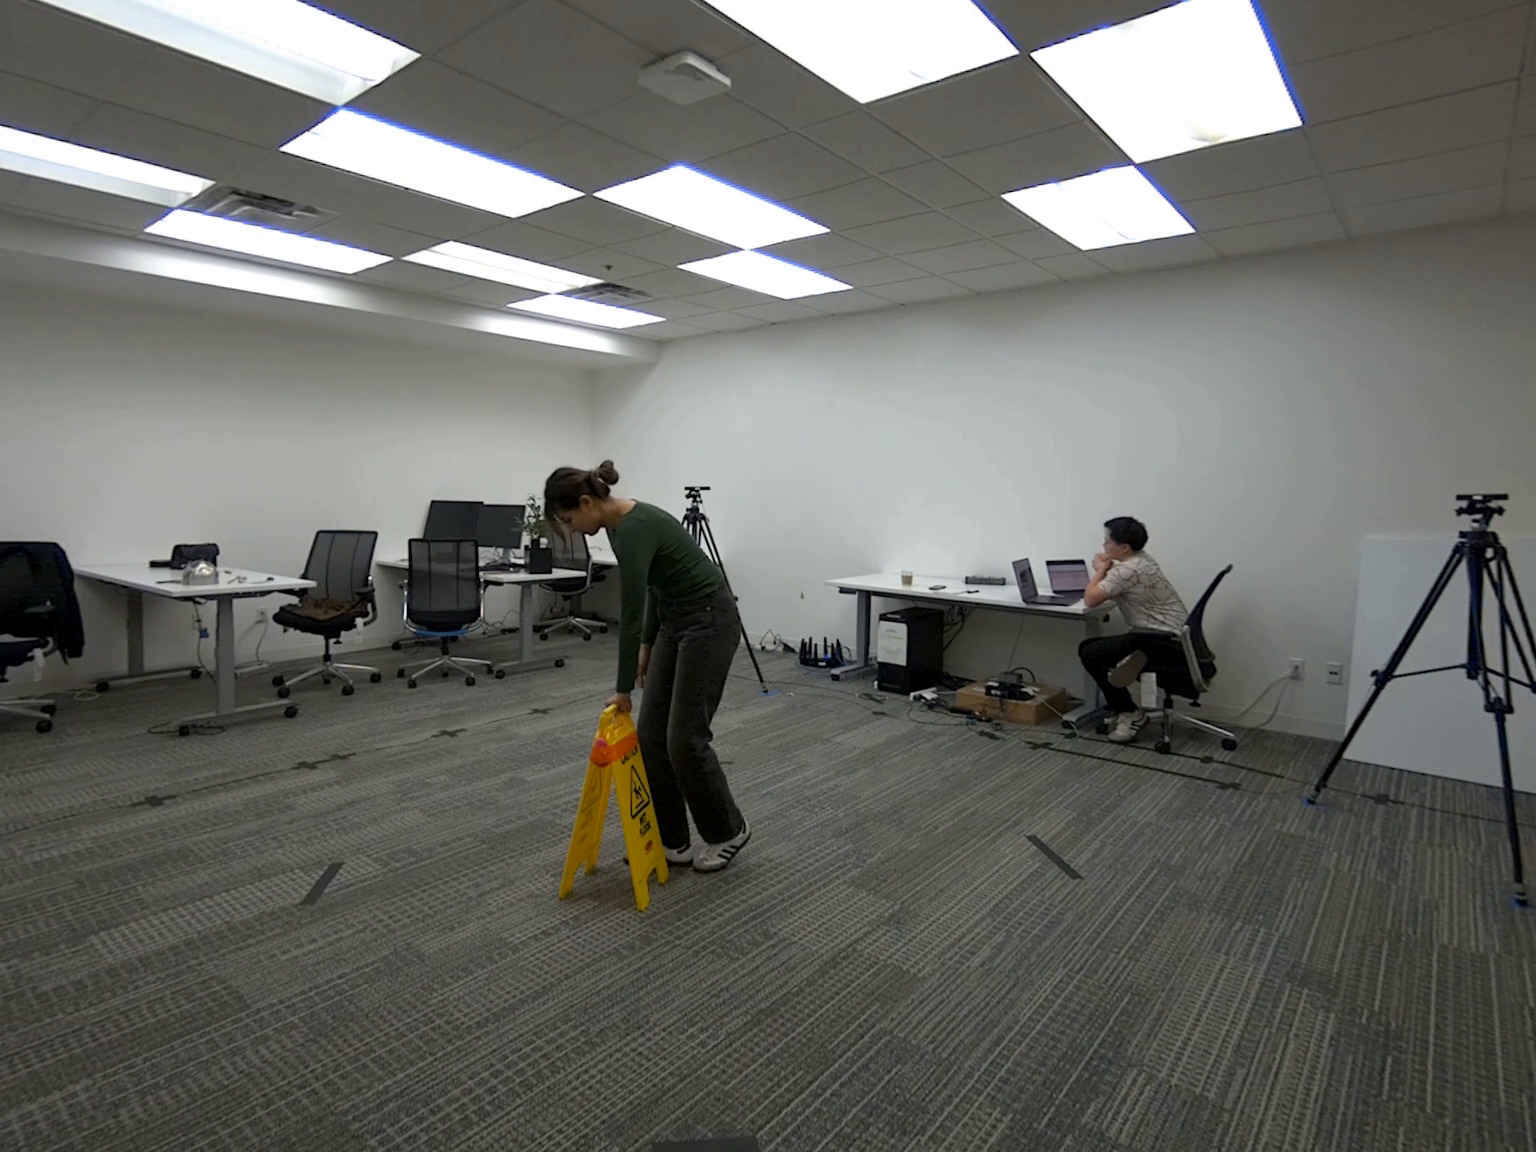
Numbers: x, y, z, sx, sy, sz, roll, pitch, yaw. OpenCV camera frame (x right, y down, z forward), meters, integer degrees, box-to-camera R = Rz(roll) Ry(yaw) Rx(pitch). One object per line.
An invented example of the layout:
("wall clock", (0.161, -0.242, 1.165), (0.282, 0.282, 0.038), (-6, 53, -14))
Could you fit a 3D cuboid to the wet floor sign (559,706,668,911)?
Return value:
("wet floor sign", (-0.535, 0.758, 2.923), (0.294, 0.644, 0.279), (1, 4, 14))
